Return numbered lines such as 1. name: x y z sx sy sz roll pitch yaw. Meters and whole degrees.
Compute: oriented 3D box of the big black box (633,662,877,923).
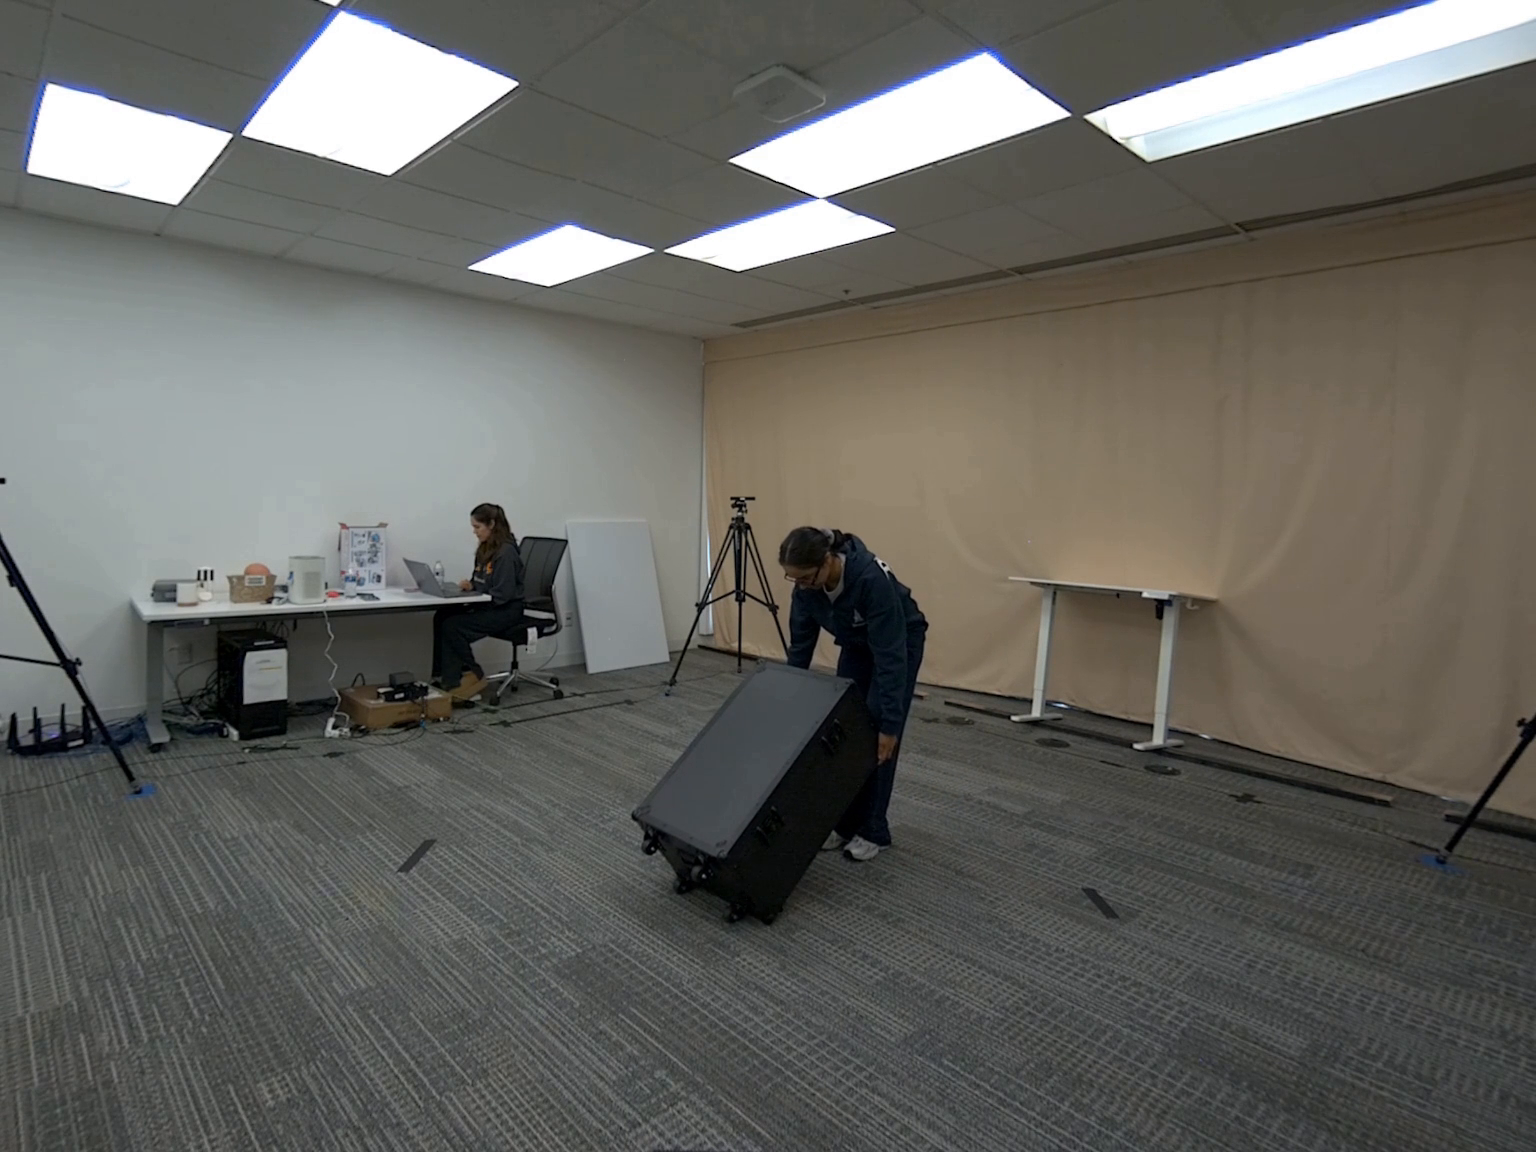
1. big black box: -0.038 0.761 3.021 0.535 0.386 0.861 6 44 45
